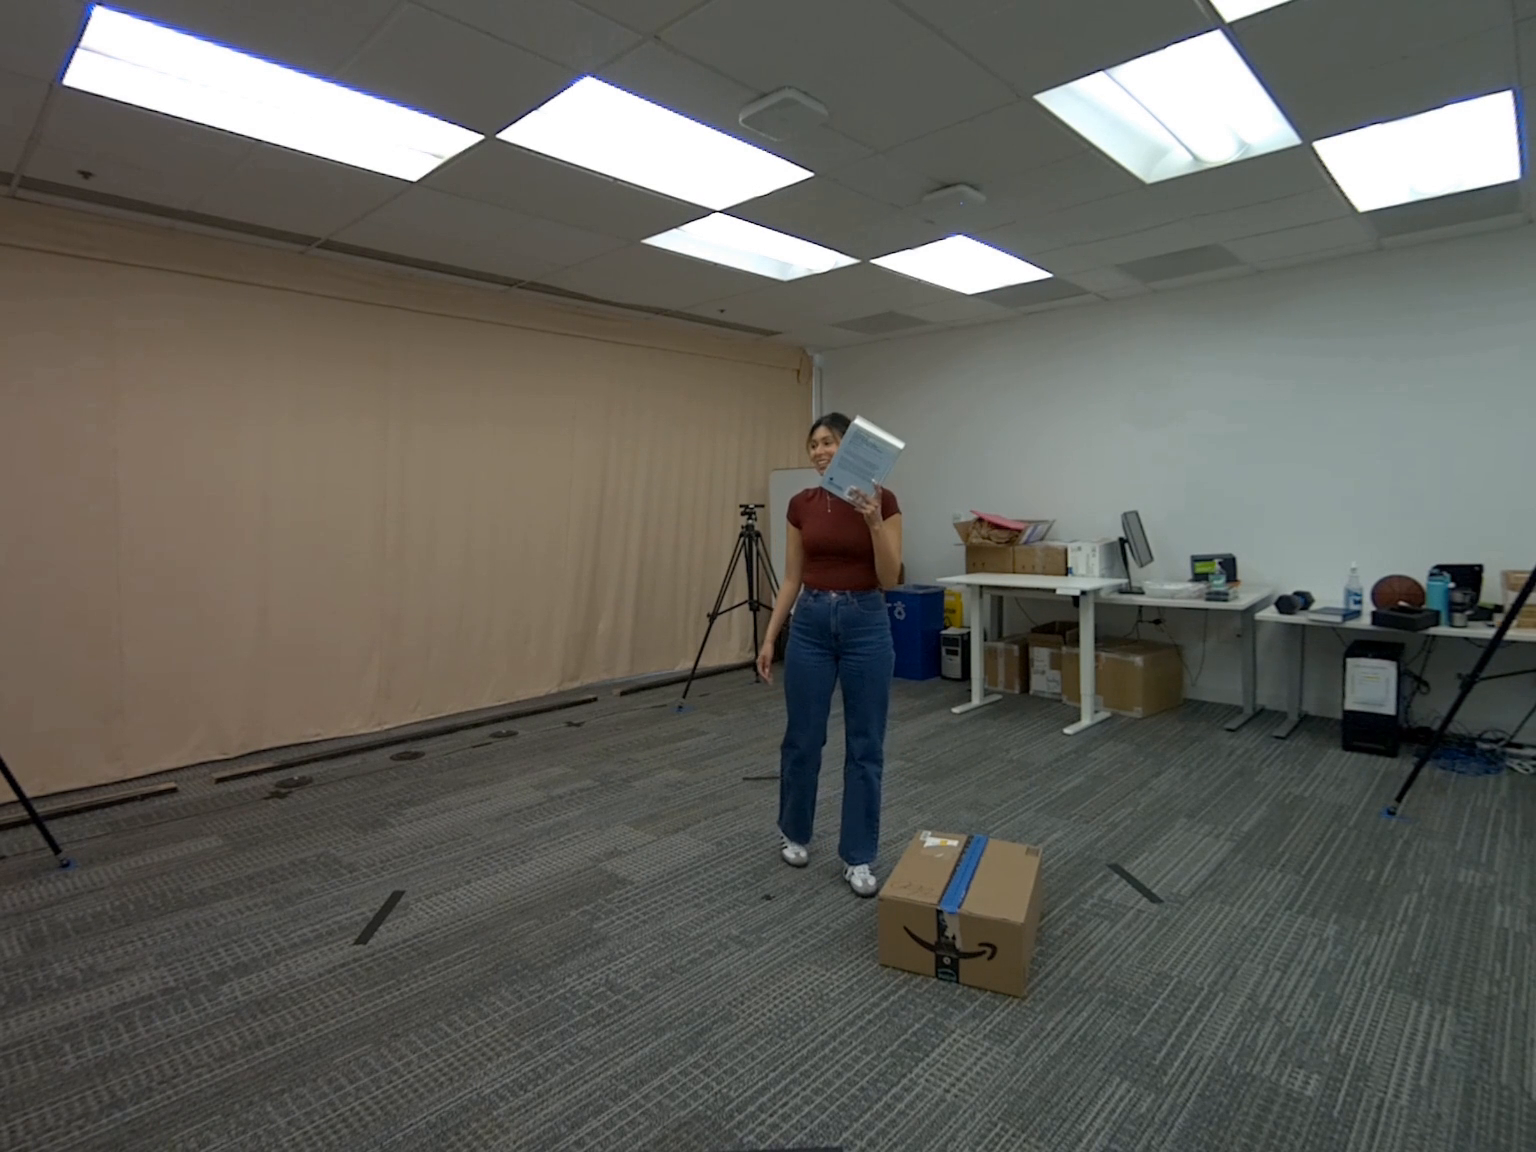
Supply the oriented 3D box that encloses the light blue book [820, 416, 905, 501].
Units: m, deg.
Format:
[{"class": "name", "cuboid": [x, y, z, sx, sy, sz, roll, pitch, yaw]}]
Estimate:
[{"class": "light blue book", "cuboid": [0.308, -0.373, 2.829, 0.193, 0.260, 0.058, 32, 33, 8]}]
